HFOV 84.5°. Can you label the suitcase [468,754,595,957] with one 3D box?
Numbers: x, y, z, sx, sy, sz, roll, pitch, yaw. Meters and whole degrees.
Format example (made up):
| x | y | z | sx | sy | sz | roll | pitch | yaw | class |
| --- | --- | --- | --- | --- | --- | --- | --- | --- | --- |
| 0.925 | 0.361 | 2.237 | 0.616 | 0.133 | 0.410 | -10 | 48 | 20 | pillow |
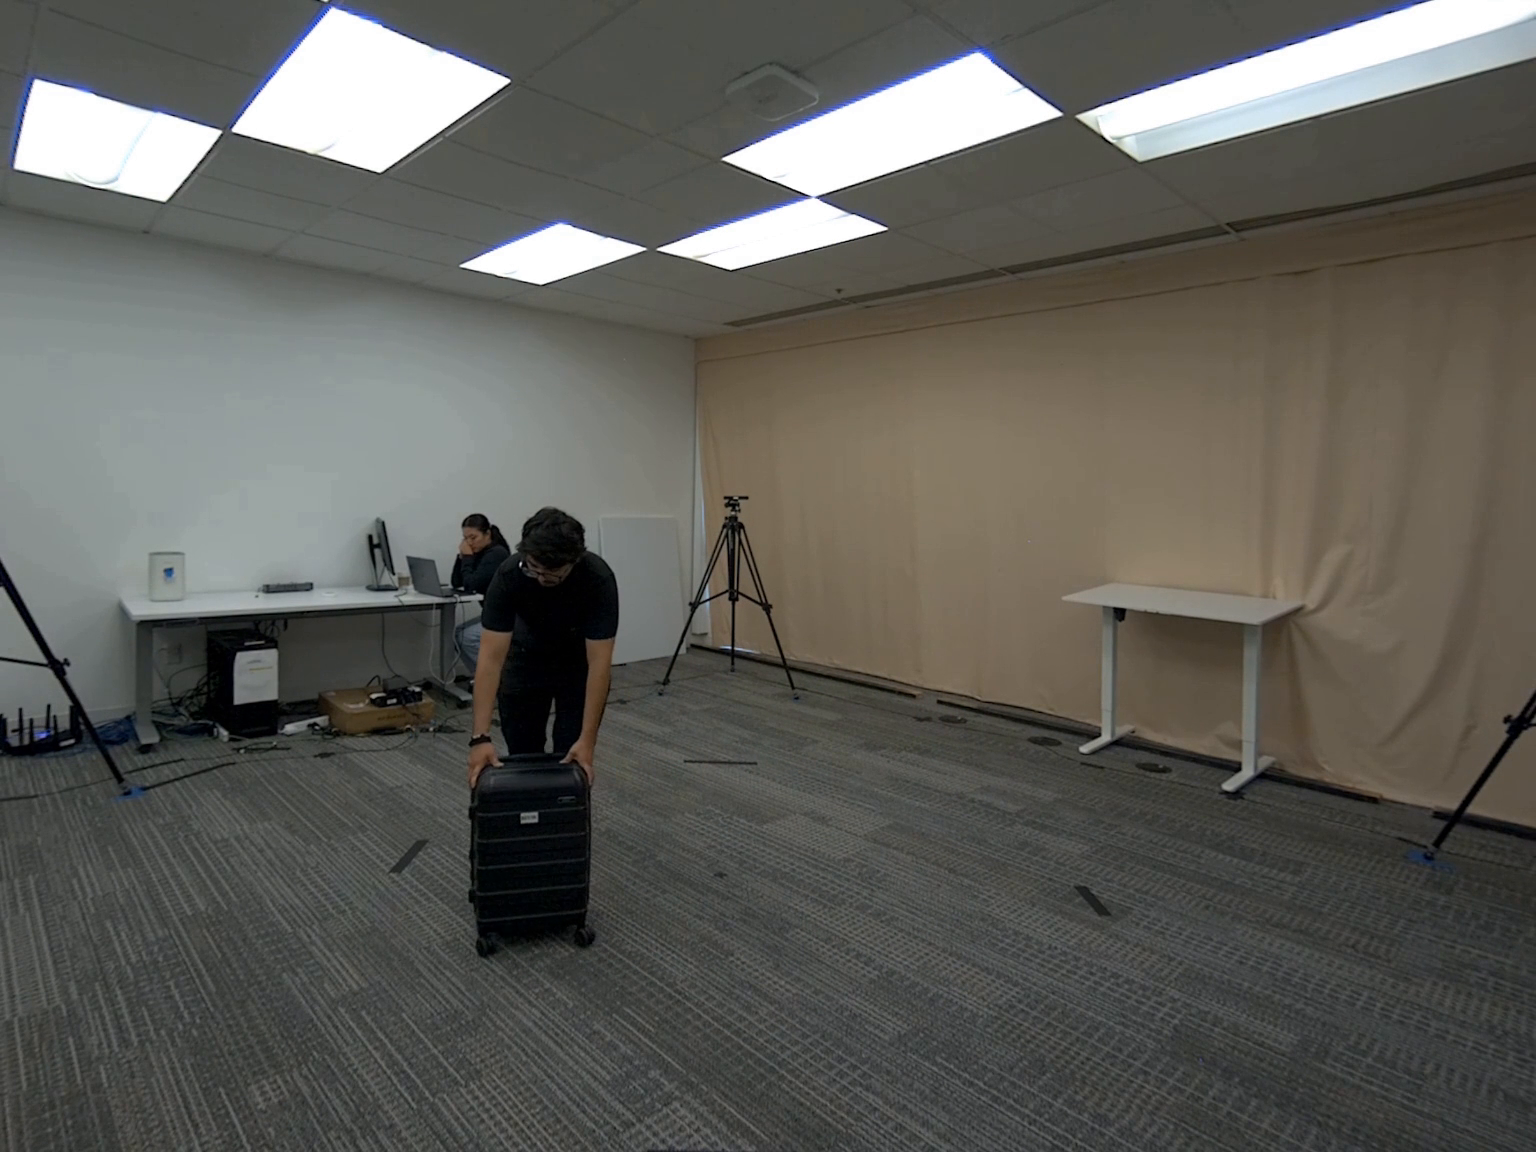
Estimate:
| x | y | z | sx | sy | sz | roll | pitch | yaw | class |
| --- | --- | --- | --- | --- | --- | --- | --- | --- | --- |
| -0.759 | 0.856 | 2.677 | 0.371 | 0.548 | 0.251 | 0 | 2 | -15 | suitcase |
